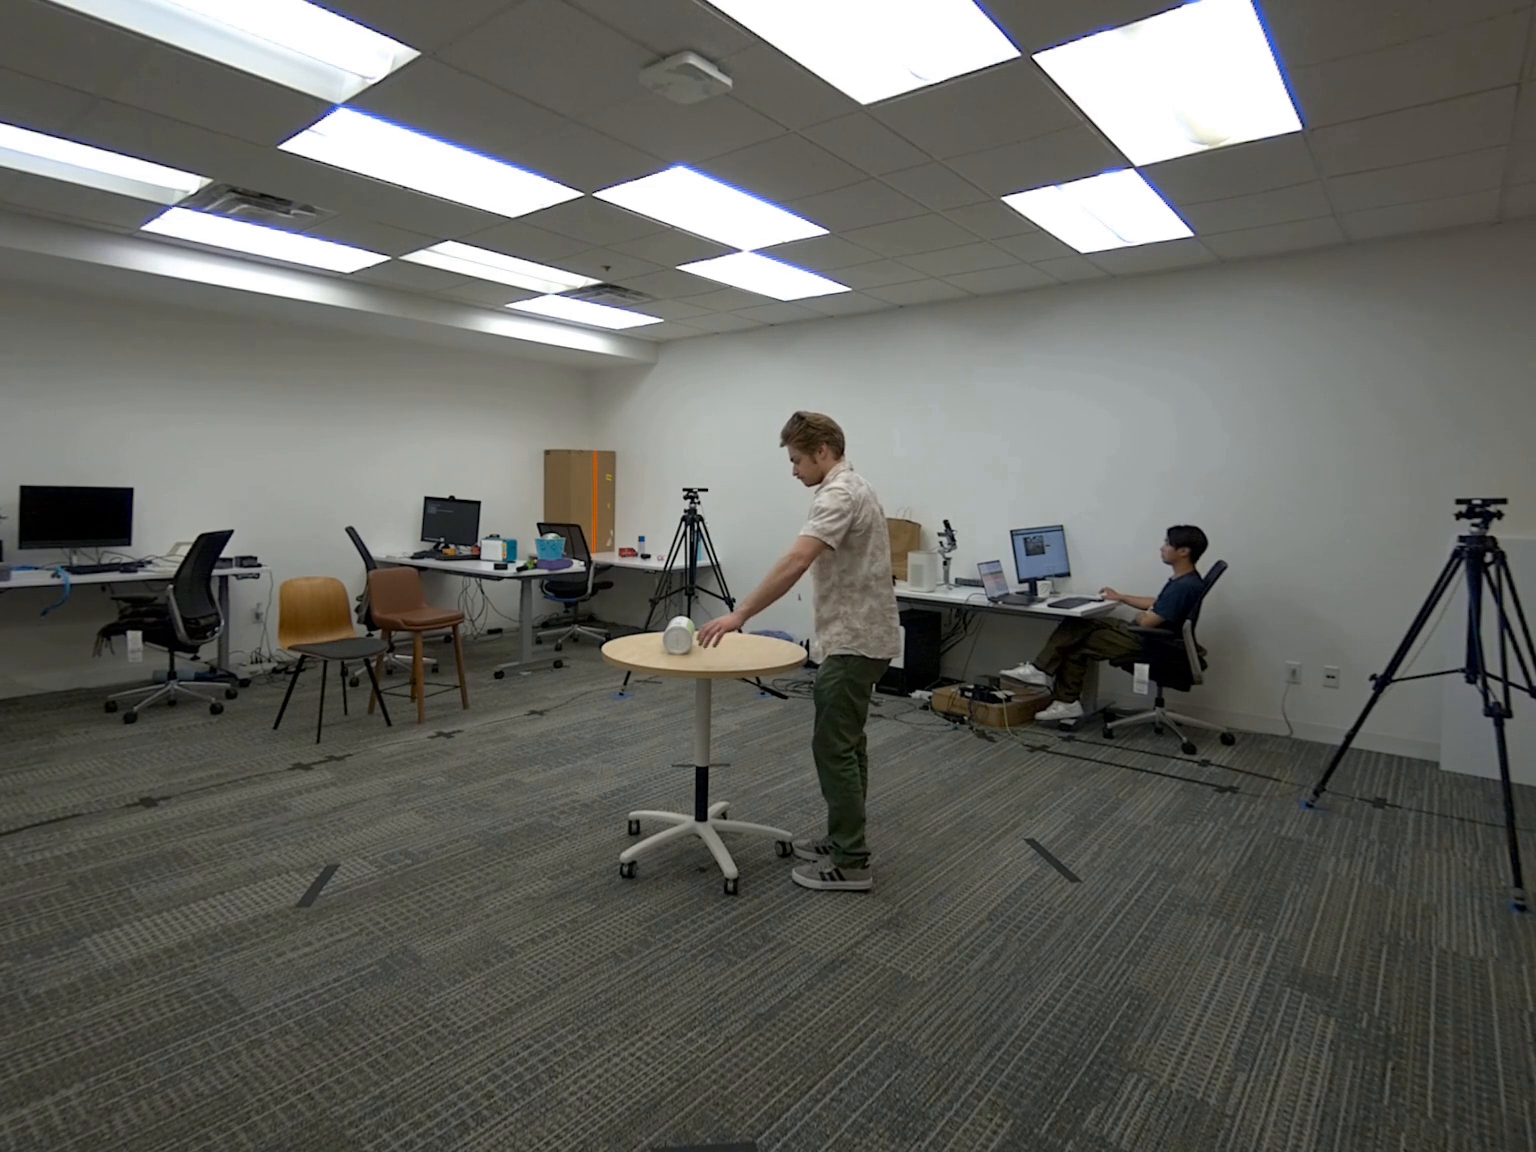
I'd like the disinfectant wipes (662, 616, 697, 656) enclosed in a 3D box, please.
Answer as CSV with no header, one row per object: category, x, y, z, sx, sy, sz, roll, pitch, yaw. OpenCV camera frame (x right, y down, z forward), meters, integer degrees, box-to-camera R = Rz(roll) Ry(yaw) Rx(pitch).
disinfectant wipes,-0.340,0.213,3.163,0.117,0.117,0.219,1,6,-4
